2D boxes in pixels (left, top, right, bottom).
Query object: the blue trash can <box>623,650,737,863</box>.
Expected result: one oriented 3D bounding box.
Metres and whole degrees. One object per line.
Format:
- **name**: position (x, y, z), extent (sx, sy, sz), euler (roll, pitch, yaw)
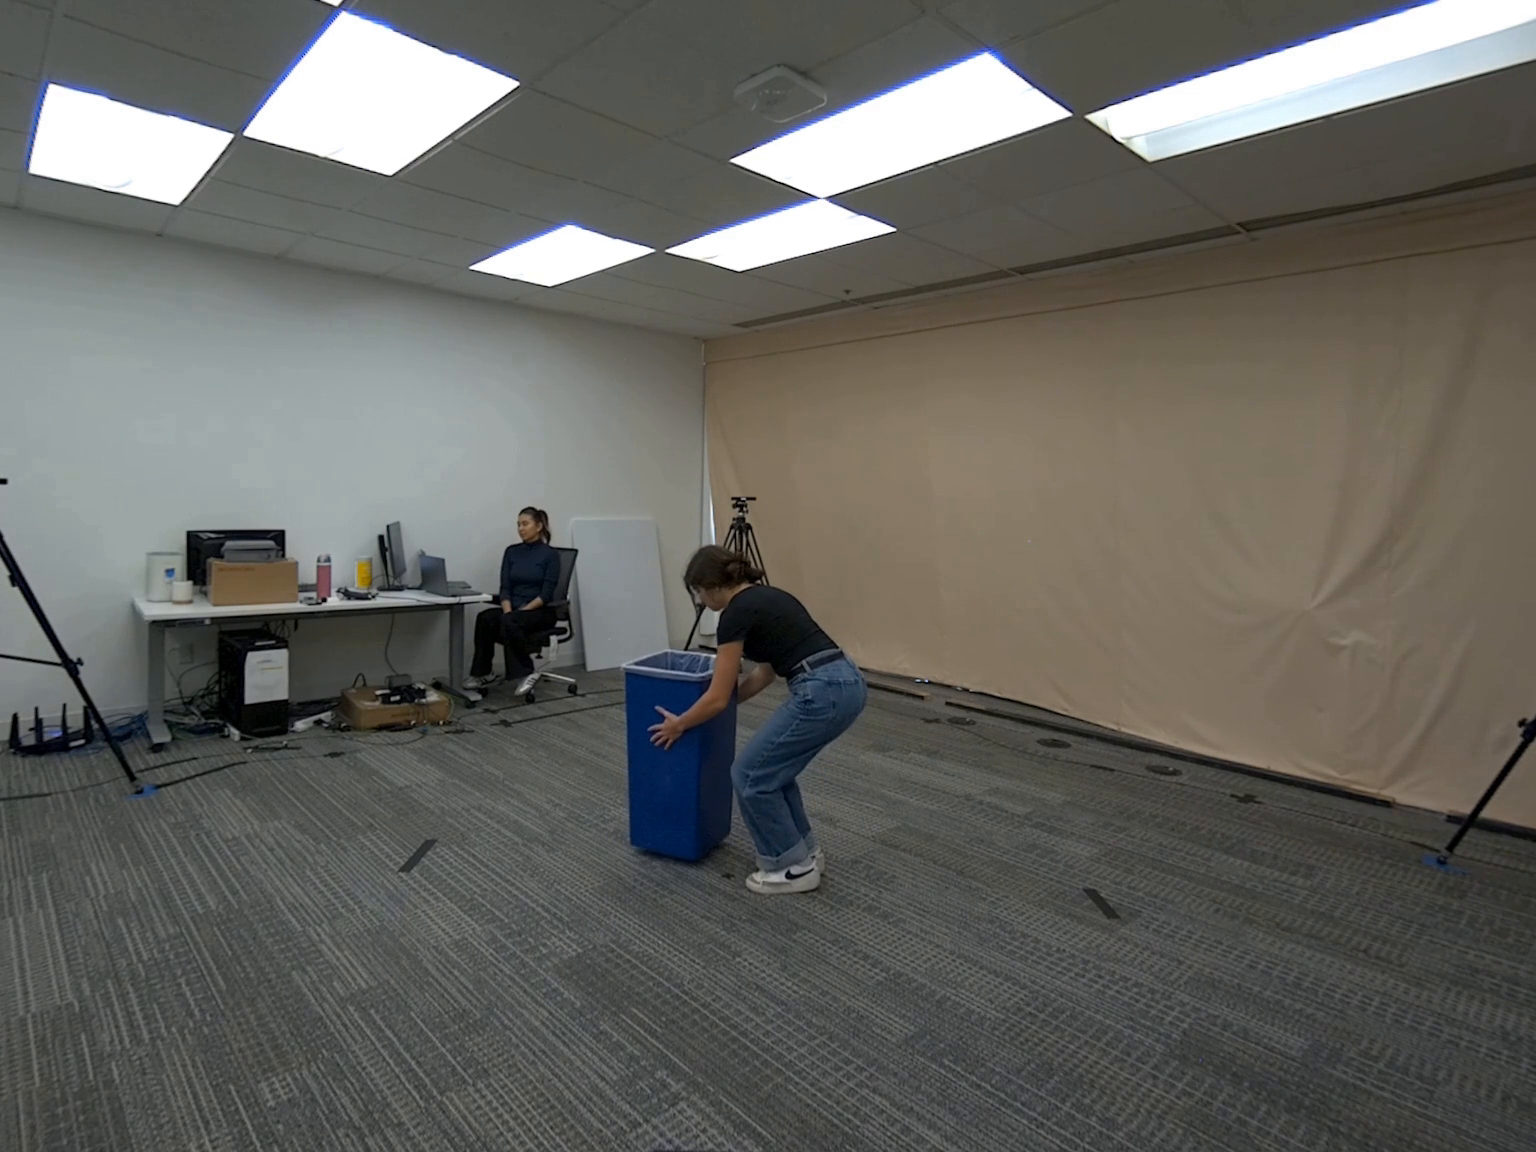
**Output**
- **blue trash can**: position (-0.346, 0.686, 3.307), extent (0.385, 0.712, 0.368), euler (3, 4, 25)
